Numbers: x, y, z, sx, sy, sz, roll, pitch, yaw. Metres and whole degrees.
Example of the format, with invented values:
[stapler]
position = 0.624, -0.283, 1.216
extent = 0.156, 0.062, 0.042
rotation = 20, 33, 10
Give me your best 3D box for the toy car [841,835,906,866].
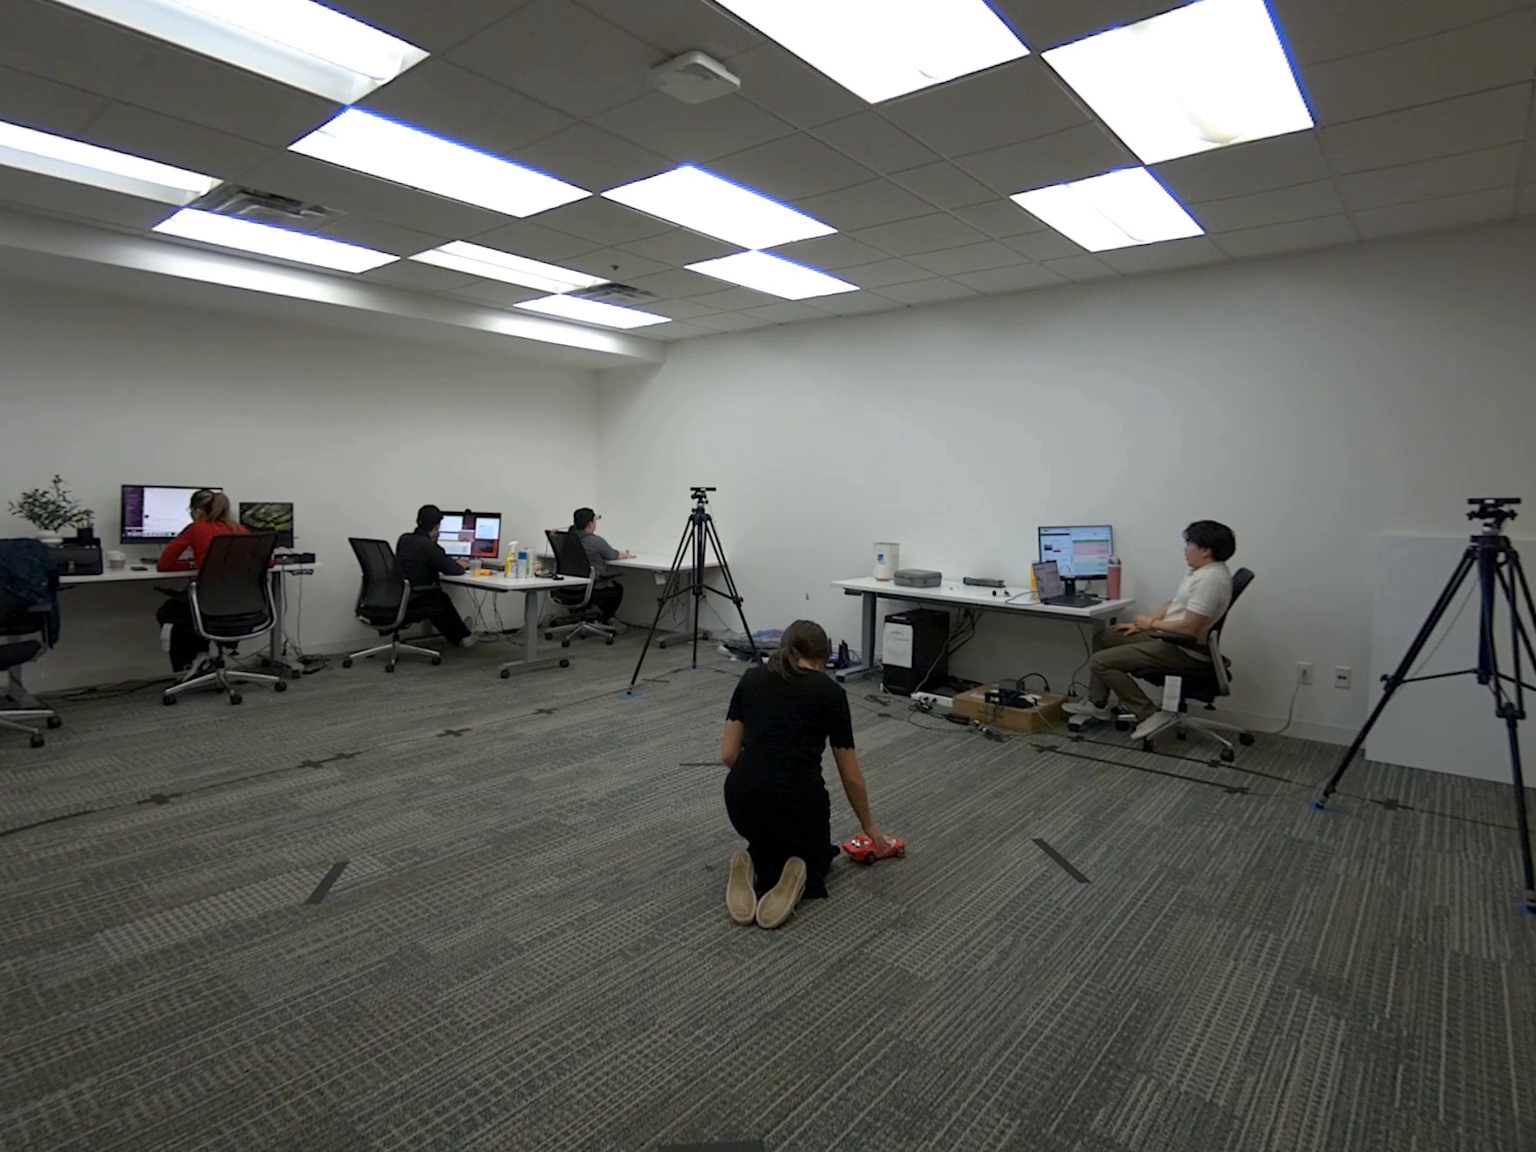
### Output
[toy car]
position = 0.392, 1.037, 3.232
extent = 0.247, 0.083, 0.134
rotation = 11, 1, -28
